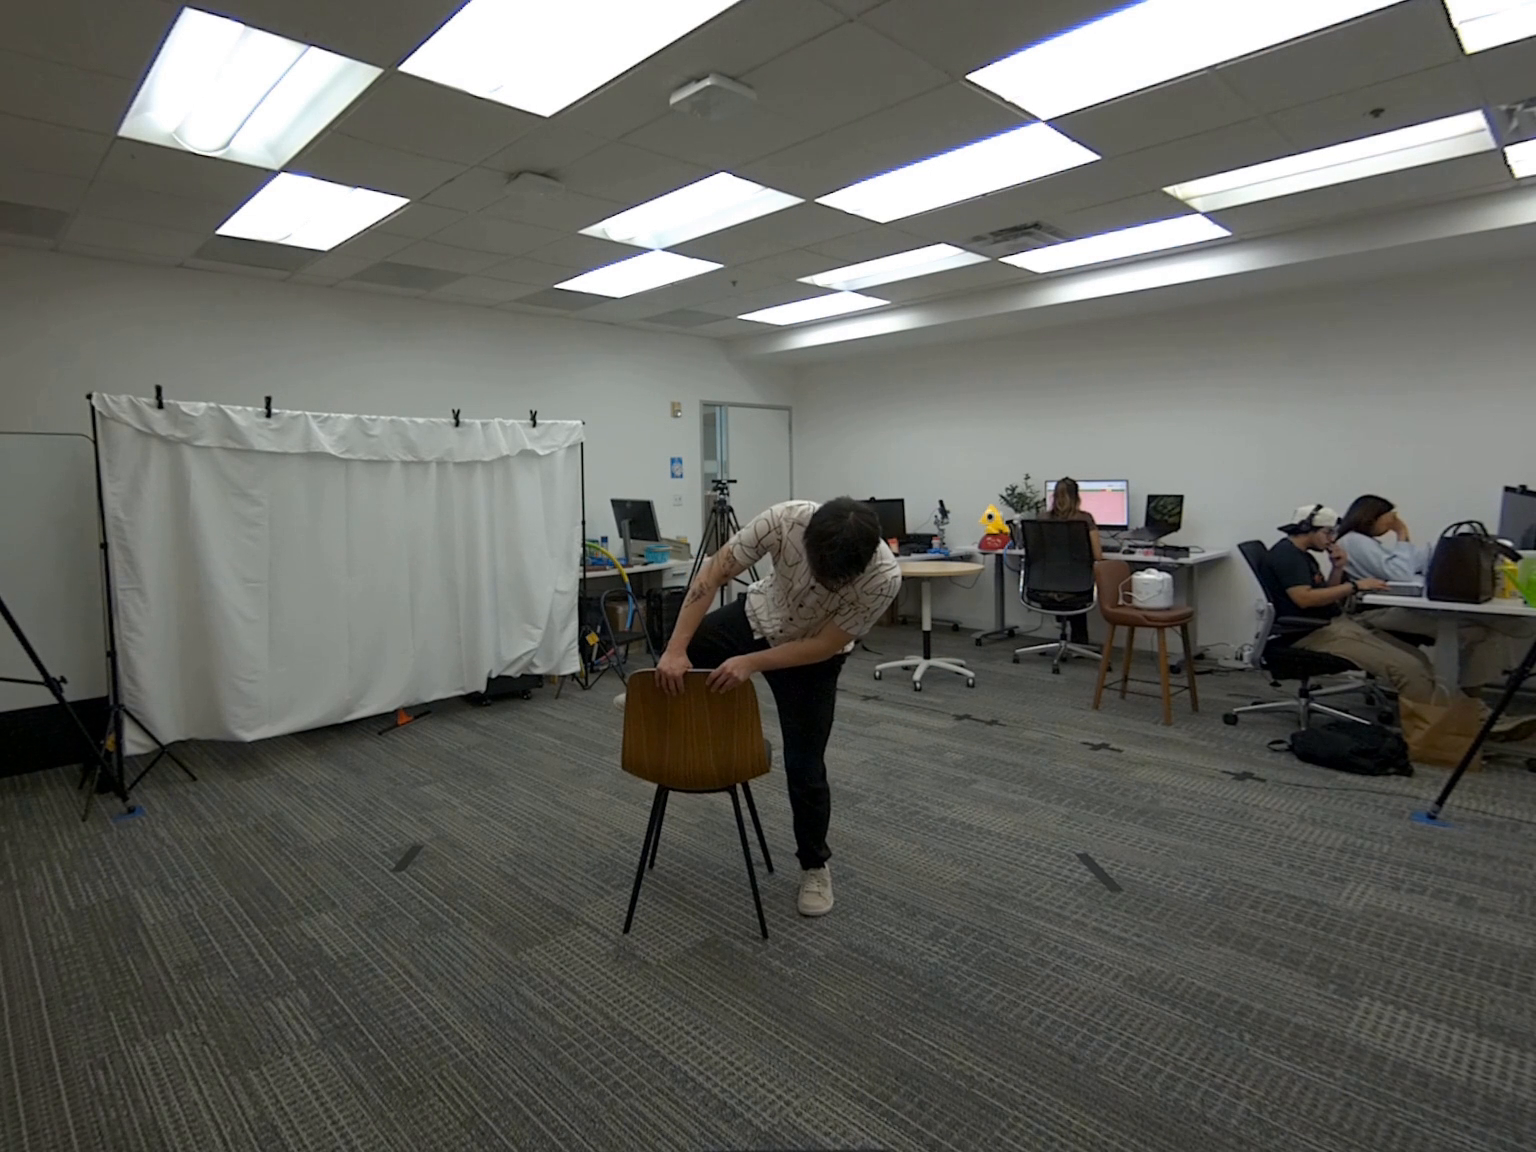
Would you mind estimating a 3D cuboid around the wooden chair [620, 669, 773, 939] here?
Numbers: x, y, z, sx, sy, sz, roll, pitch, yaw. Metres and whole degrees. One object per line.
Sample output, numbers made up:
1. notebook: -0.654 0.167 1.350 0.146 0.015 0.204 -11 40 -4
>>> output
1. wooden chair: -0.222 0.654 2.824 0.480 0.870 0.525 -1 9 4
